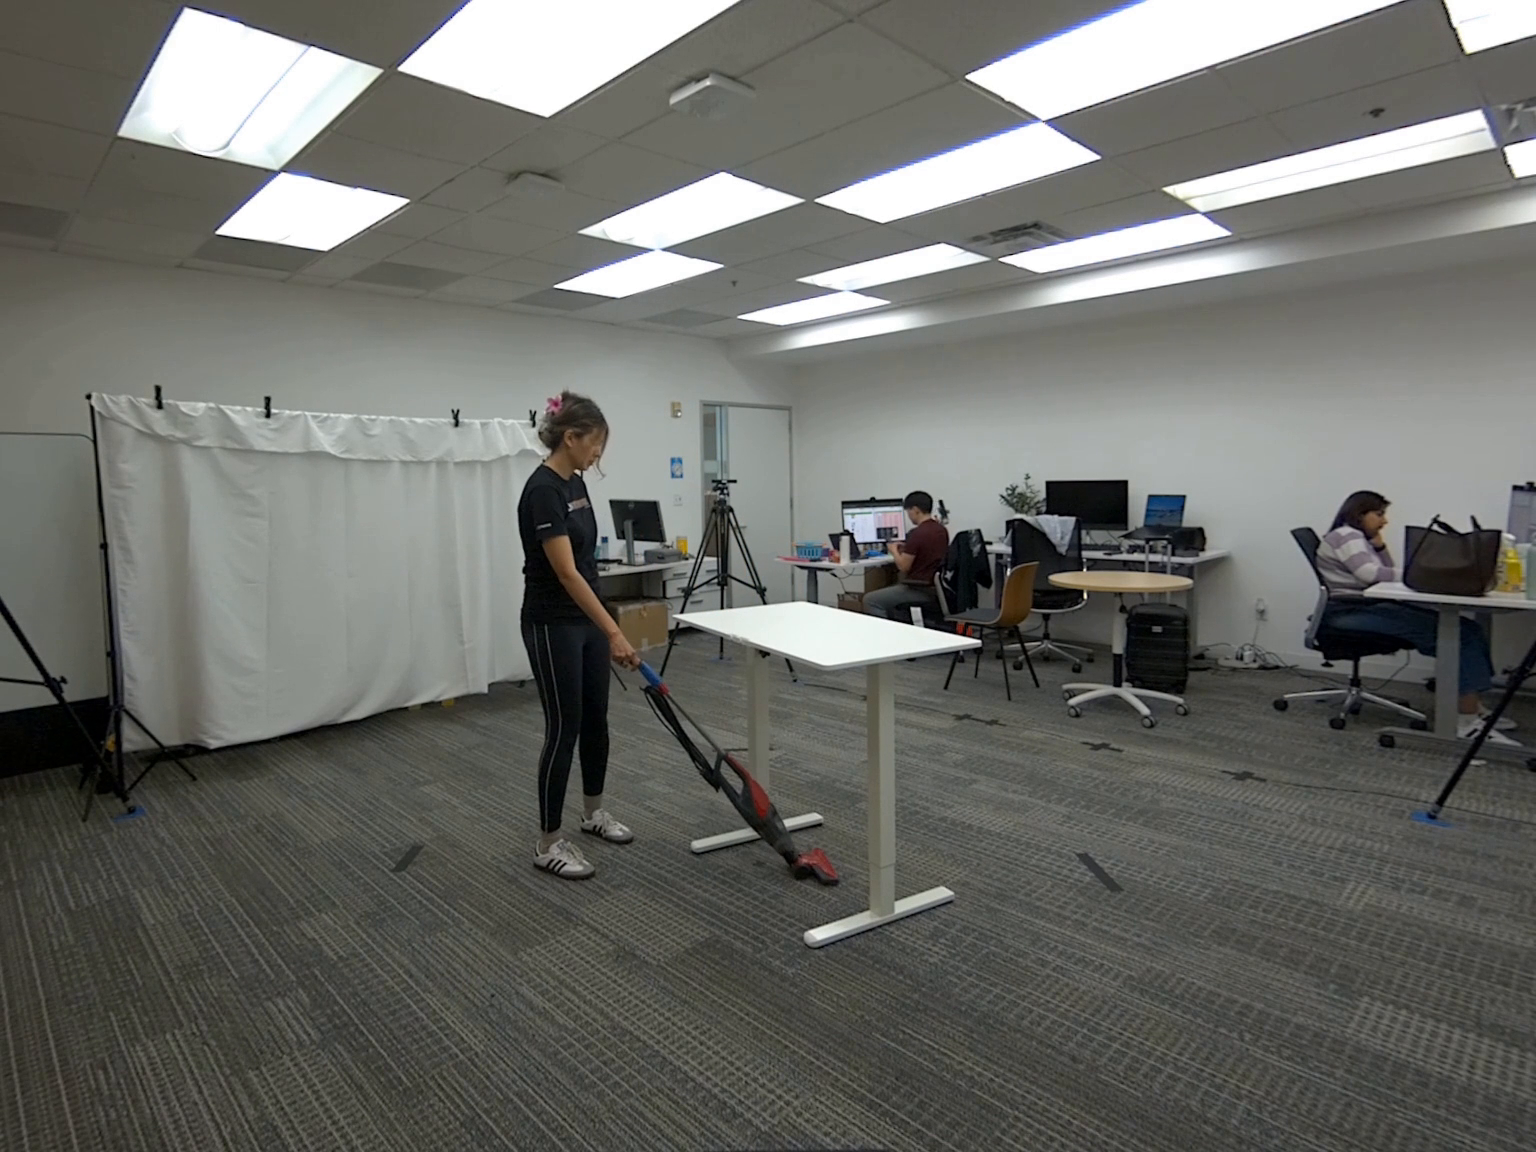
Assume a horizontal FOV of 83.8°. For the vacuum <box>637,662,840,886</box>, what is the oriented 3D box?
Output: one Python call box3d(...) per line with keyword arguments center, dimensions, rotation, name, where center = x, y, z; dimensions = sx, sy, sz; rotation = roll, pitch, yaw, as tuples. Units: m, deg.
box3d(center=(-0.189, 0.659, 2.991), dimensions=(0.144, 1.039, 0.255), rotation=(-43, 7, -3), name="vacuum")
